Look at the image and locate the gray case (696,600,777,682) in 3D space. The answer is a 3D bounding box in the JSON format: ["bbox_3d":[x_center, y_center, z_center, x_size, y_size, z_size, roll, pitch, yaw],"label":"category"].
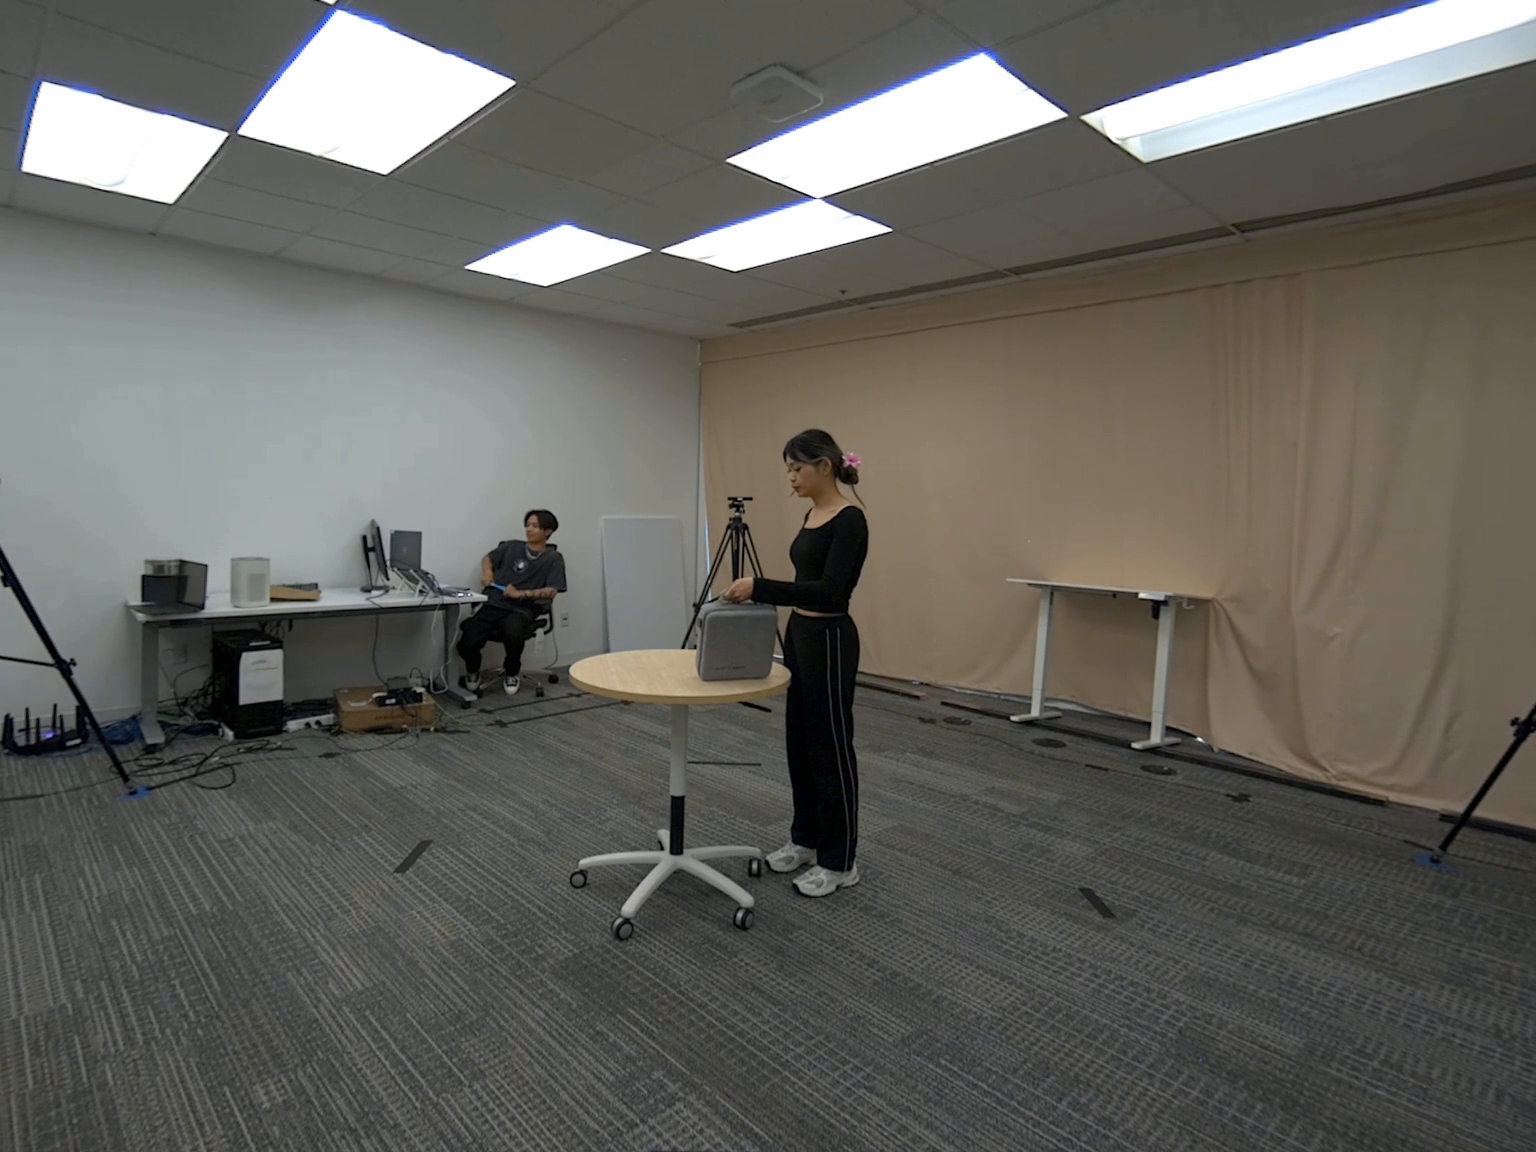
[{"bbox_3d":[-0.113,0.212,2.782,0.253,0.257,0.107,0,19,-17],"label":"gray case"}]
